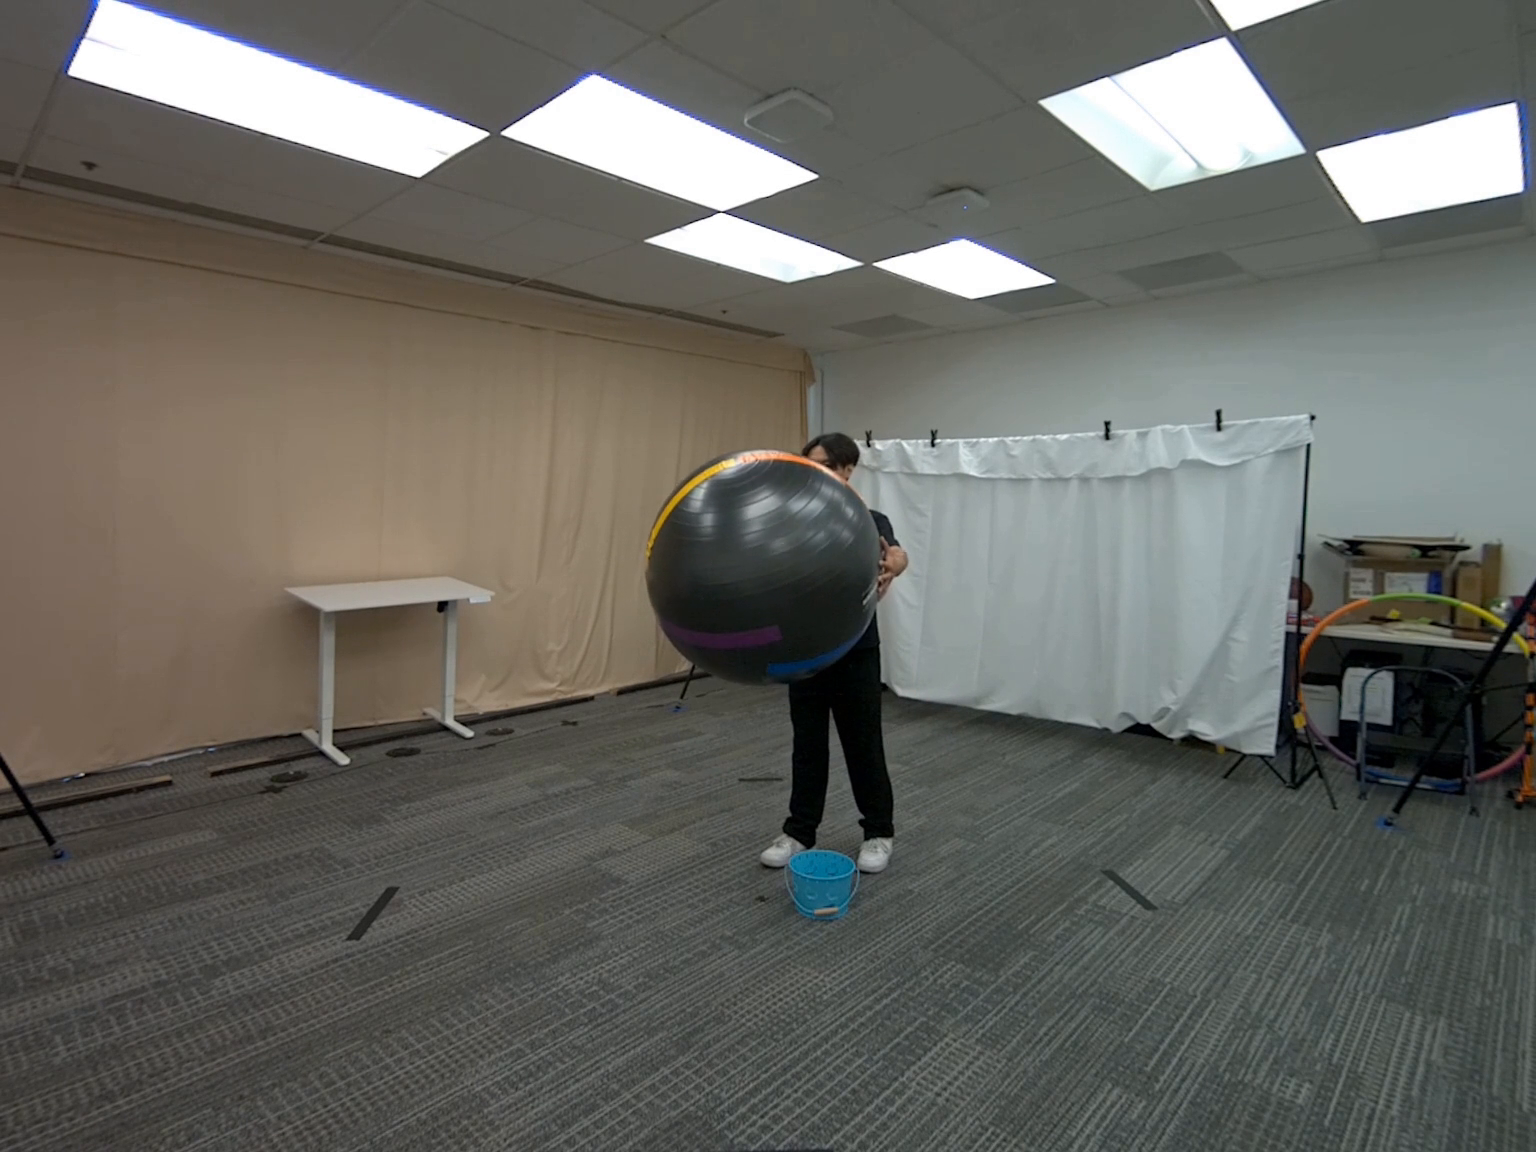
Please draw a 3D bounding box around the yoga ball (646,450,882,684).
[{"bbox_3d":[-0.022,-0.020,2.718,0.757,0.756,0.761,0,4,-2],"label":"yoga ball"}]
